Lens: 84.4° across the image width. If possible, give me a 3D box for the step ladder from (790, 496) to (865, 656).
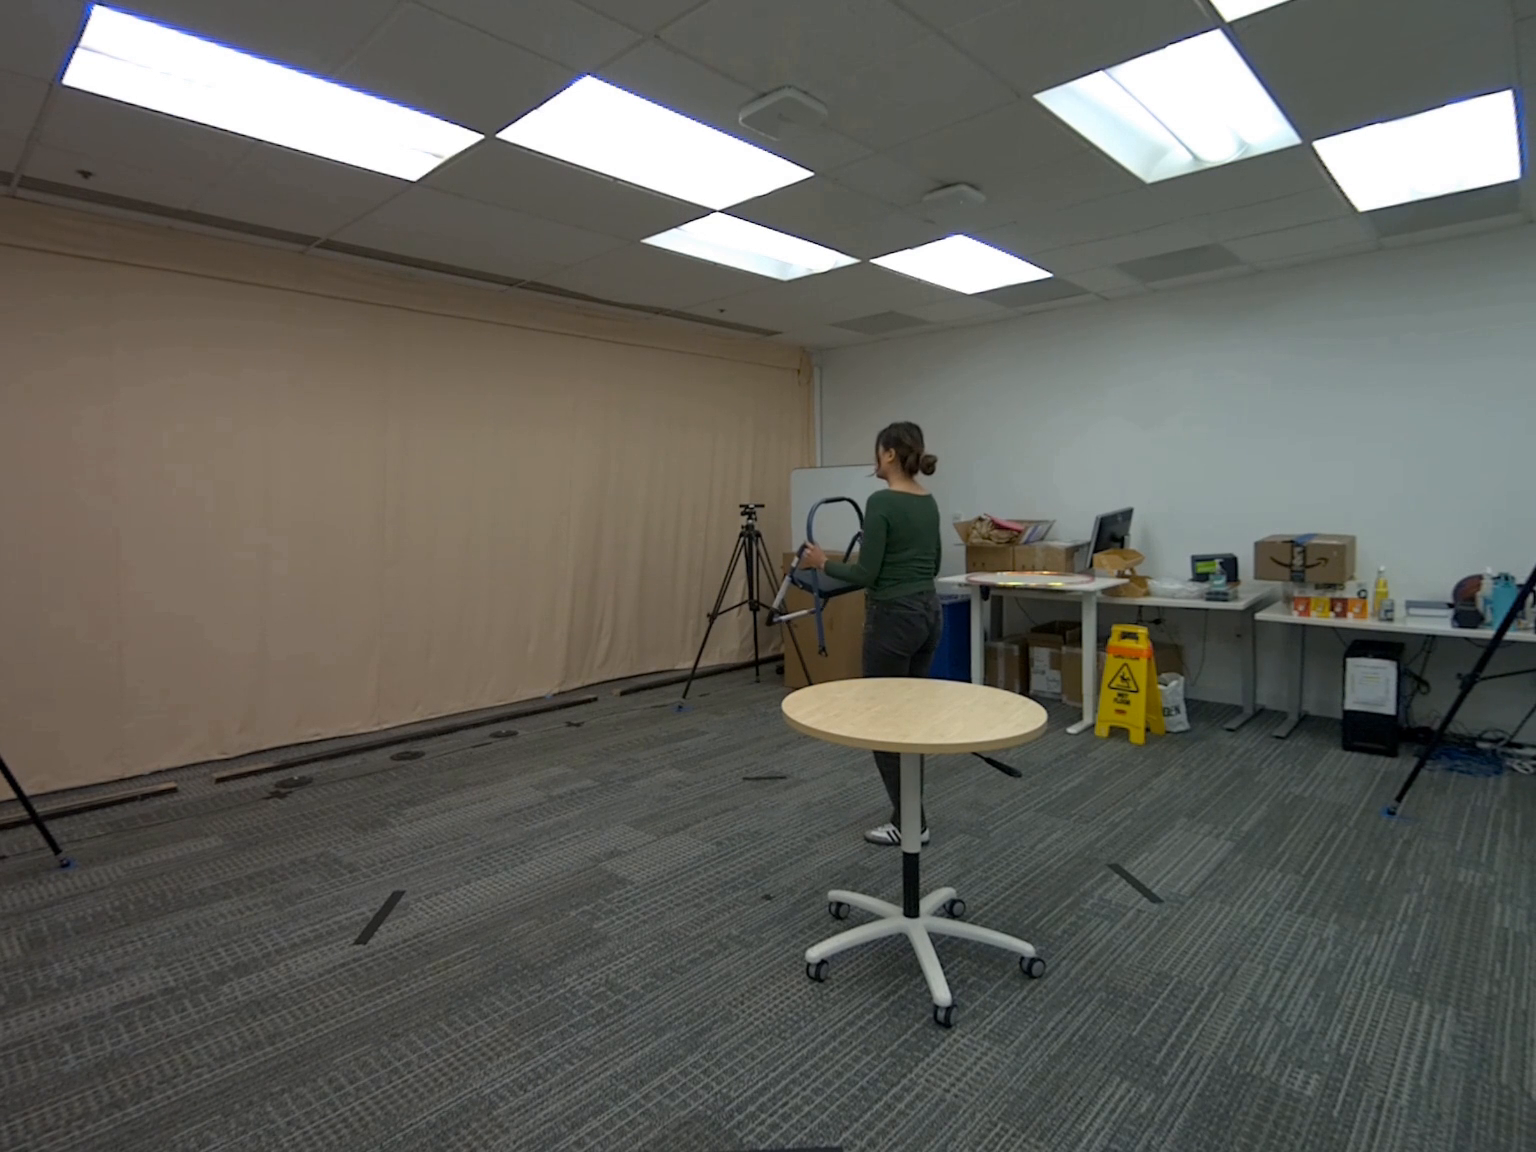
[{"bbox_3d":[0.298,-0.033,3.701,0.362,0.602,0.418,23,21,37],"label":"step ladder"}]
